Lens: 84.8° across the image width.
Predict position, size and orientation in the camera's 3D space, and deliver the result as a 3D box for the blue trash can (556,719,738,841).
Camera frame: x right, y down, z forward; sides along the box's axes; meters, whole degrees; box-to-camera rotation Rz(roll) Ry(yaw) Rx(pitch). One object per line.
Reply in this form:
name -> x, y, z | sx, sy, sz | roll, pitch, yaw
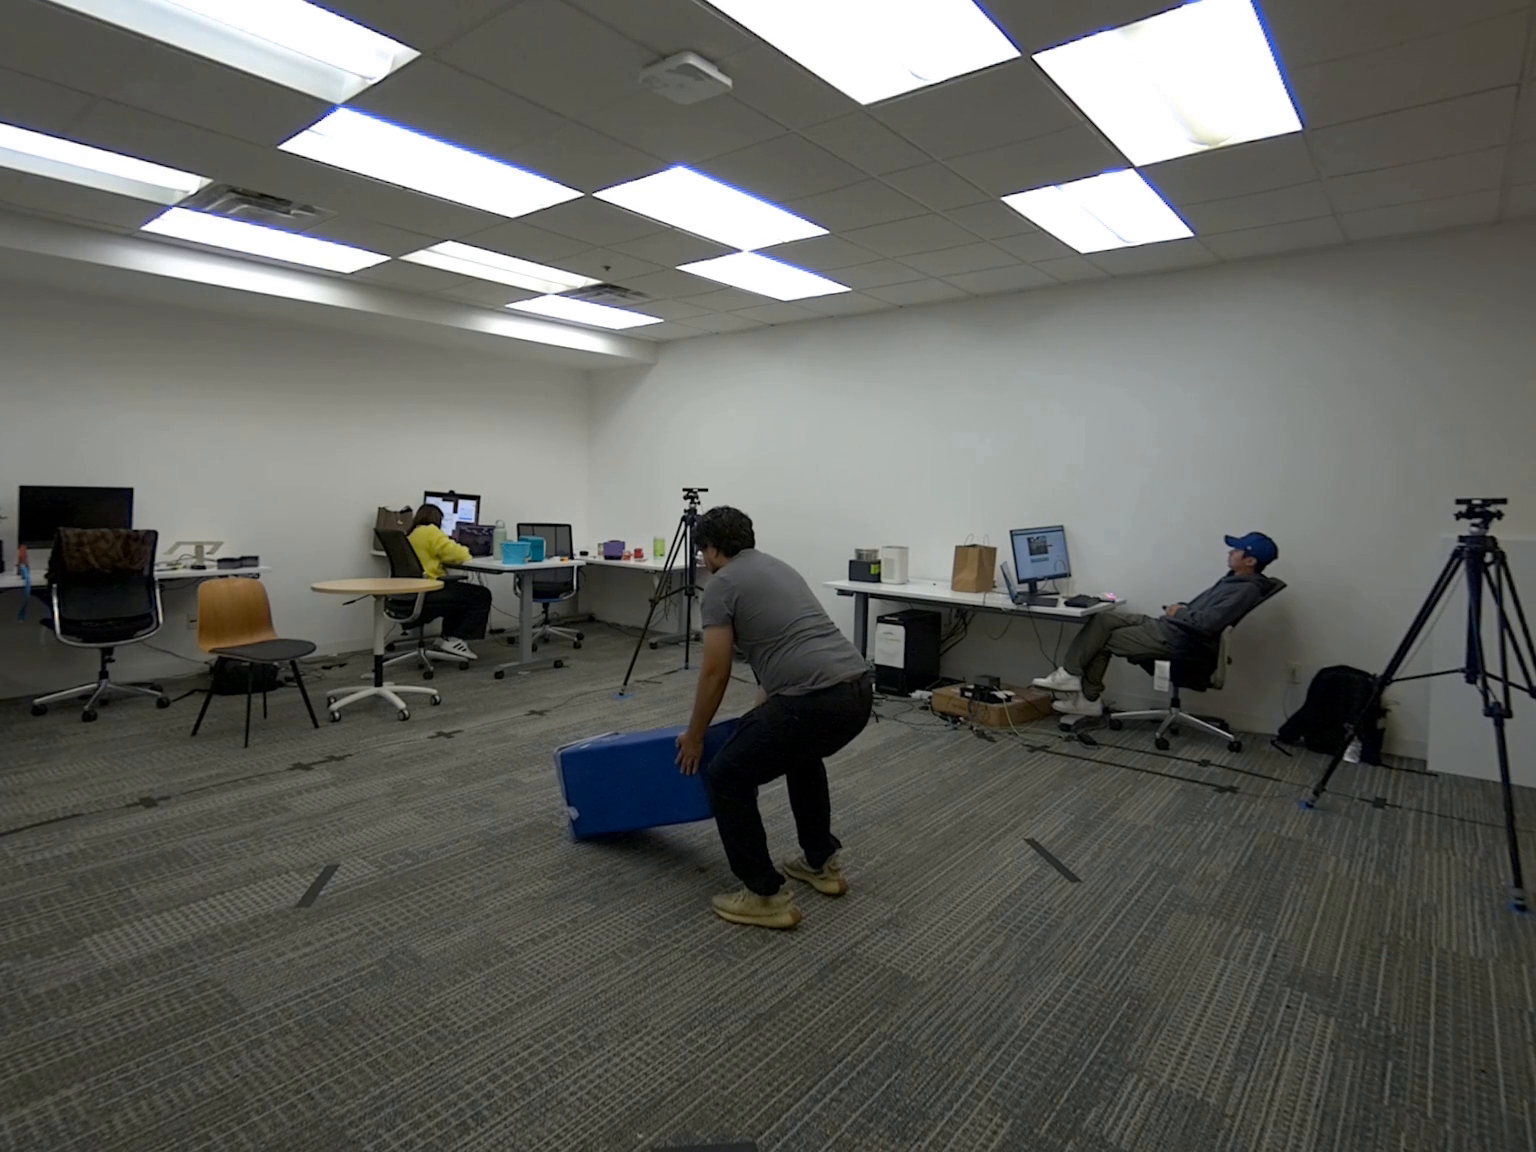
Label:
blue trash can -> -0.477, 0.791, 3.299 | 0.729, 0.381, 0.363 | -16, -7, 35
